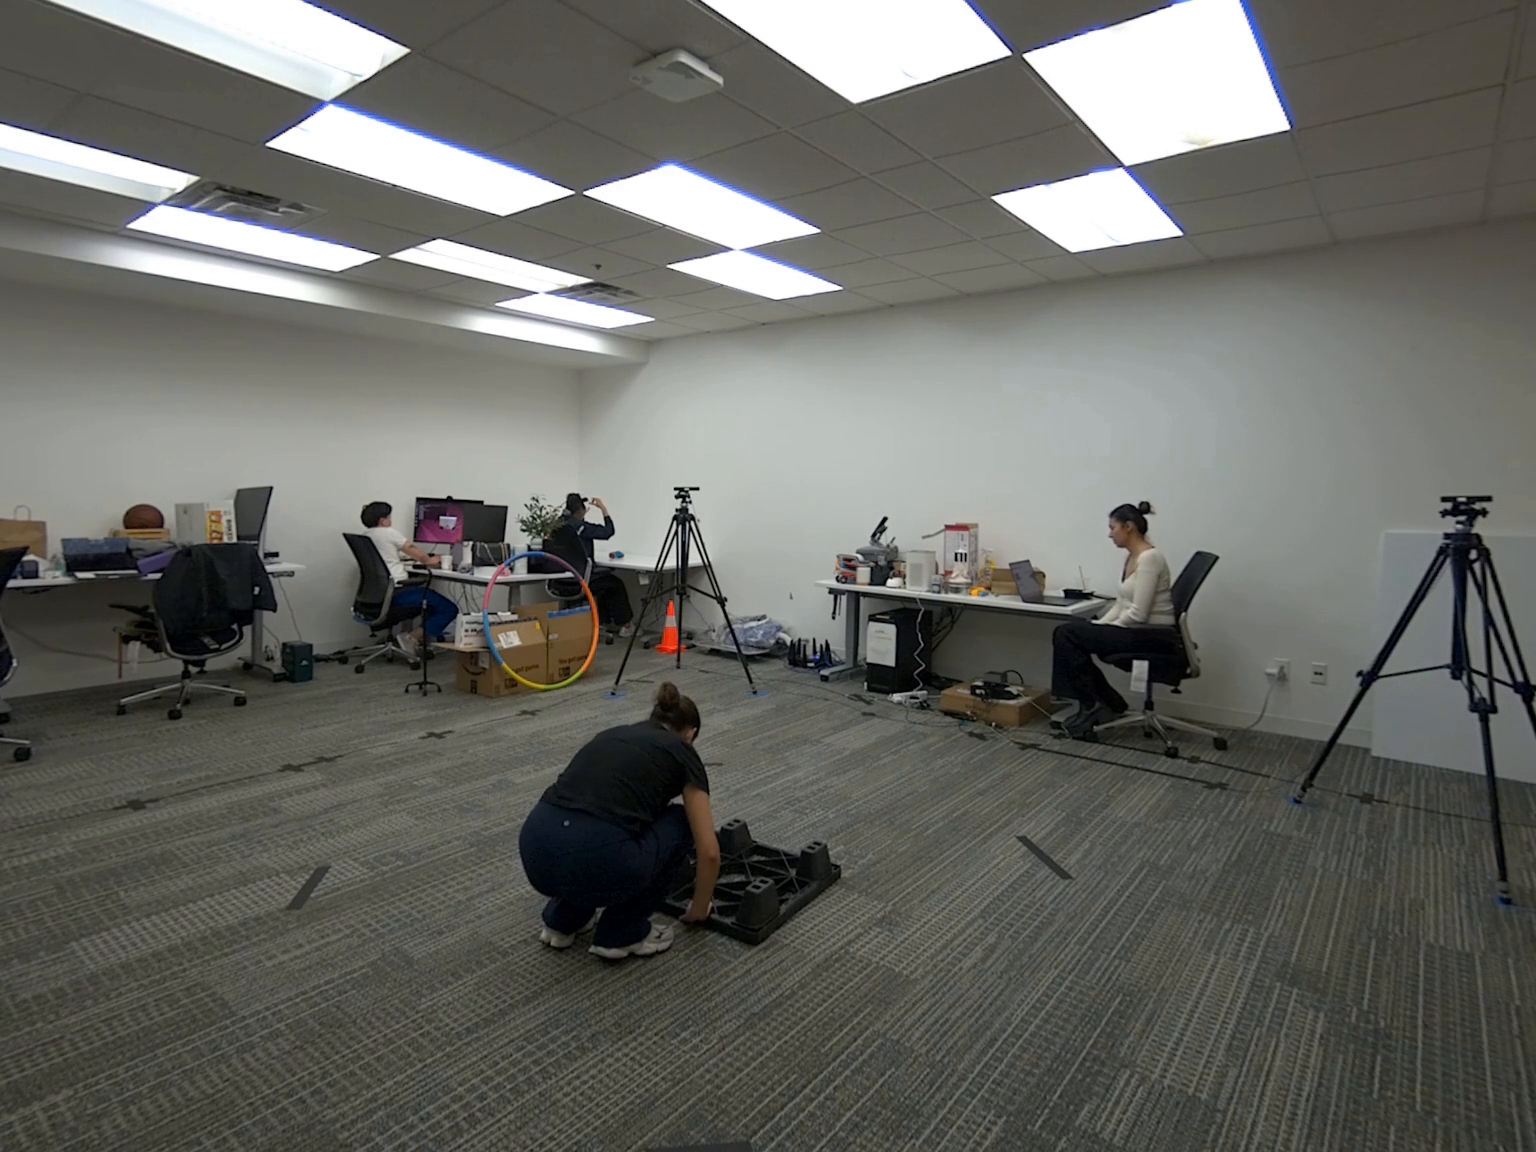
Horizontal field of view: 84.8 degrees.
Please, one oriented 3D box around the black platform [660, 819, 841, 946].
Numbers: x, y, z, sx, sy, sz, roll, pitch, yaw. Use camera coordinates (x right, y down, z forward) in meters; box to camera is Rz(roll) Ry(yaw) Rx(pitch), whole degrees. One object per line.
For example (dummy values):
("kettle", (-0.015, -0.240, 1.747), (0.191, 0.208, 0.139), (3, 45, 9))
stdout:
("black platform", (-0.214, 1.005, 3.052), (0.831, 0.143, 0.588), (4, 6, 33))
